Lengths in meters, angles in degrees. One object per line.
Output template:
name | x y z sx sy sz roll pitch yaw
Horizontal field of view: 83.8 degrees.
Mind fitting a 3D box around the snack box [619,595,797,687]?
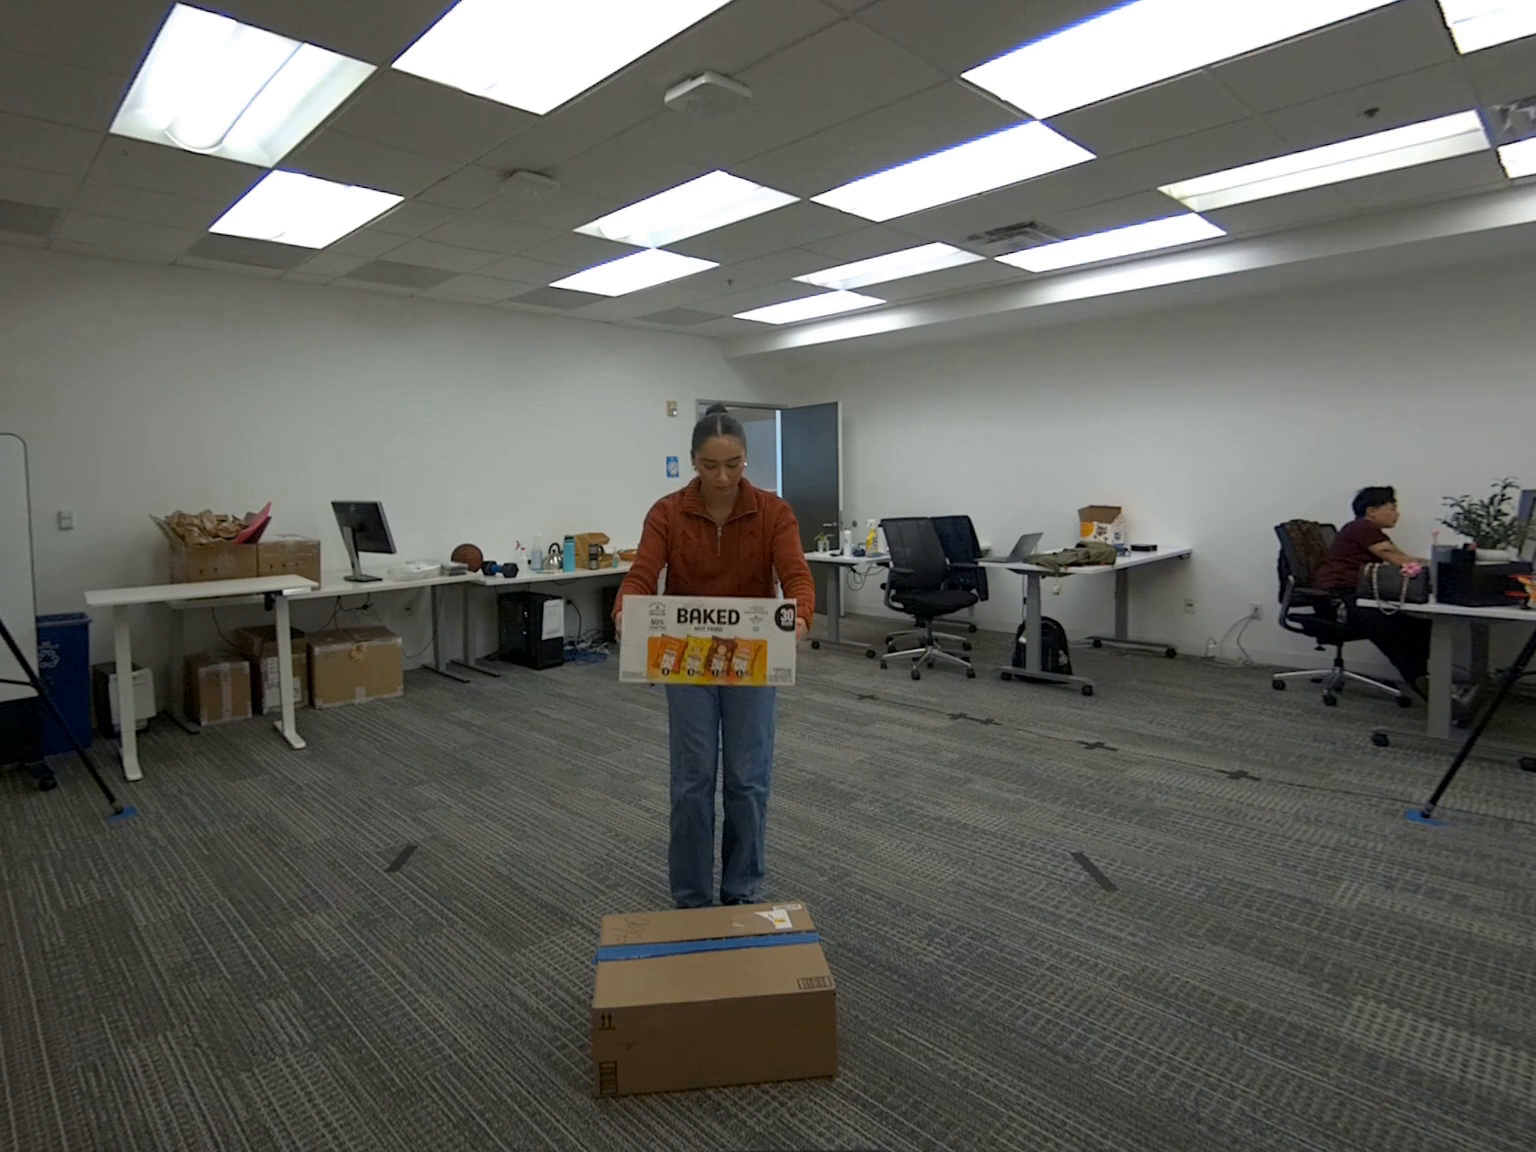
snack box | -0.146 0.170 2.143 0.404 0.206 0.340 0 -3 -3
